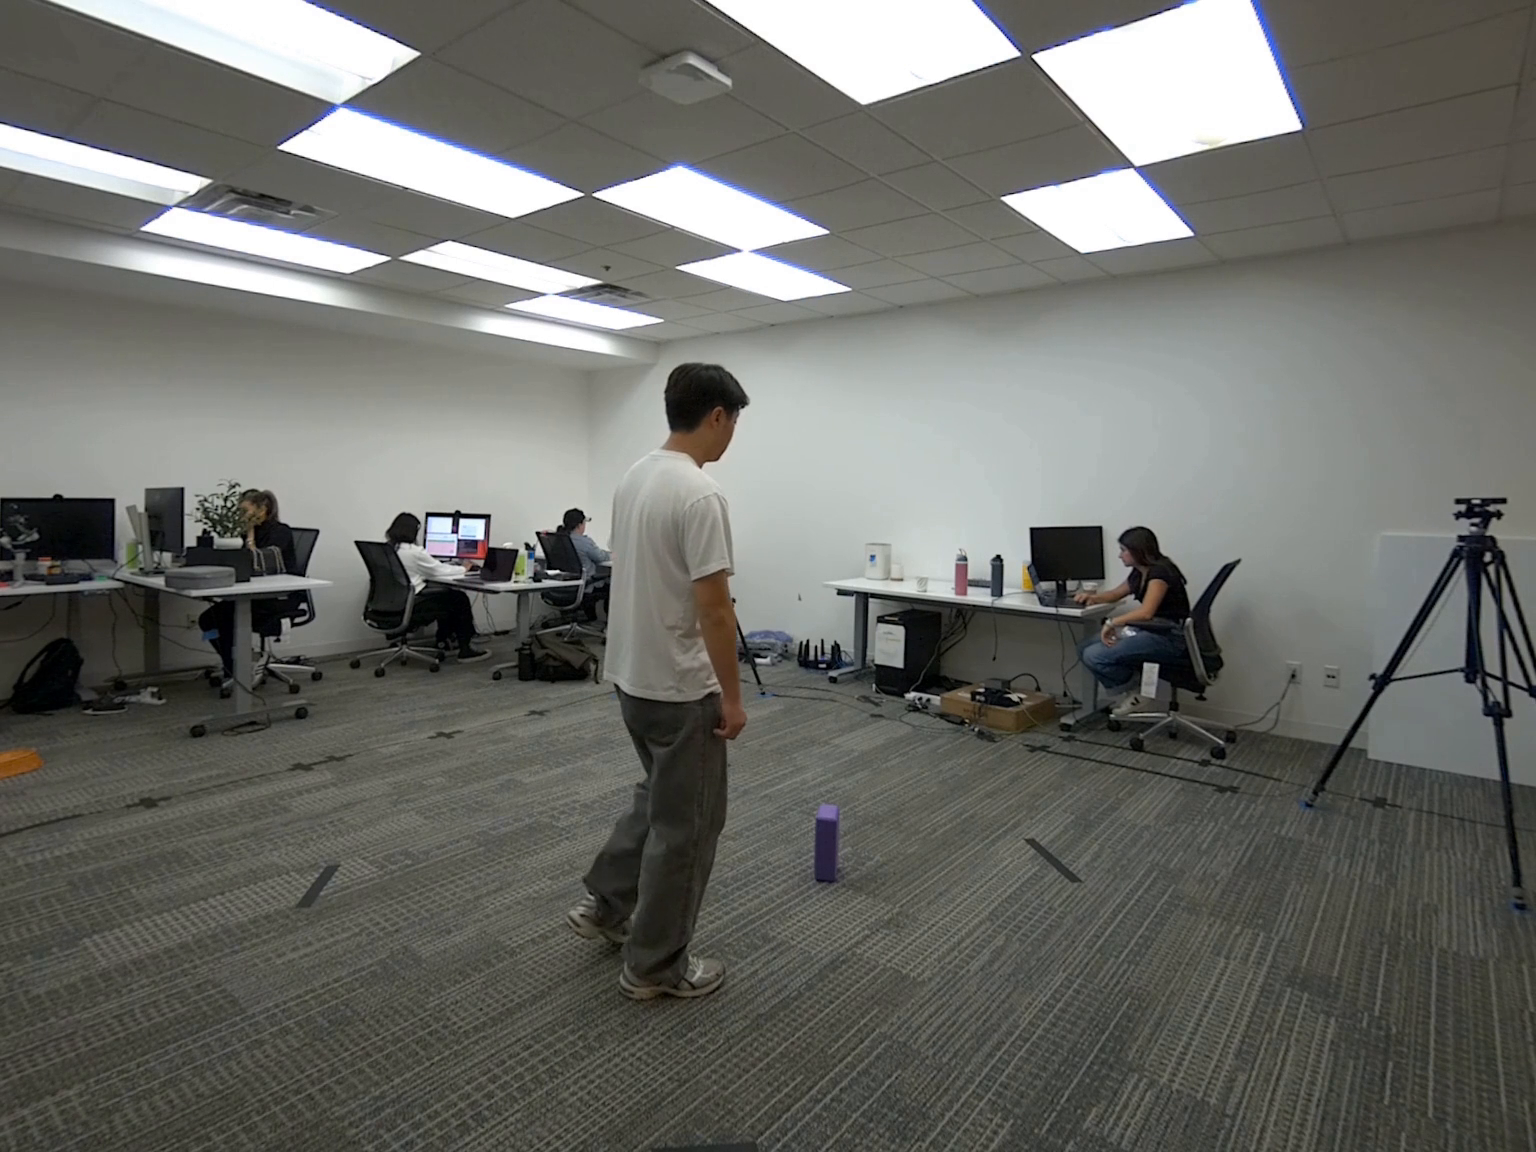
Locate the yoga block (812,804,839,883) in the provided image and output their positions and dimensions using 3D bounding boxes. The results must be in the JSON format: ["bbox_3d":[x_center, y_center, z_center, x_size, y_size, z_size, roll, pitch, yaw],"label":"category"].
[{"bbox_3d":[0.219,0.959,3.096,0.077,0.229,0.148,2,4,9],"label":"yoga block"}]
